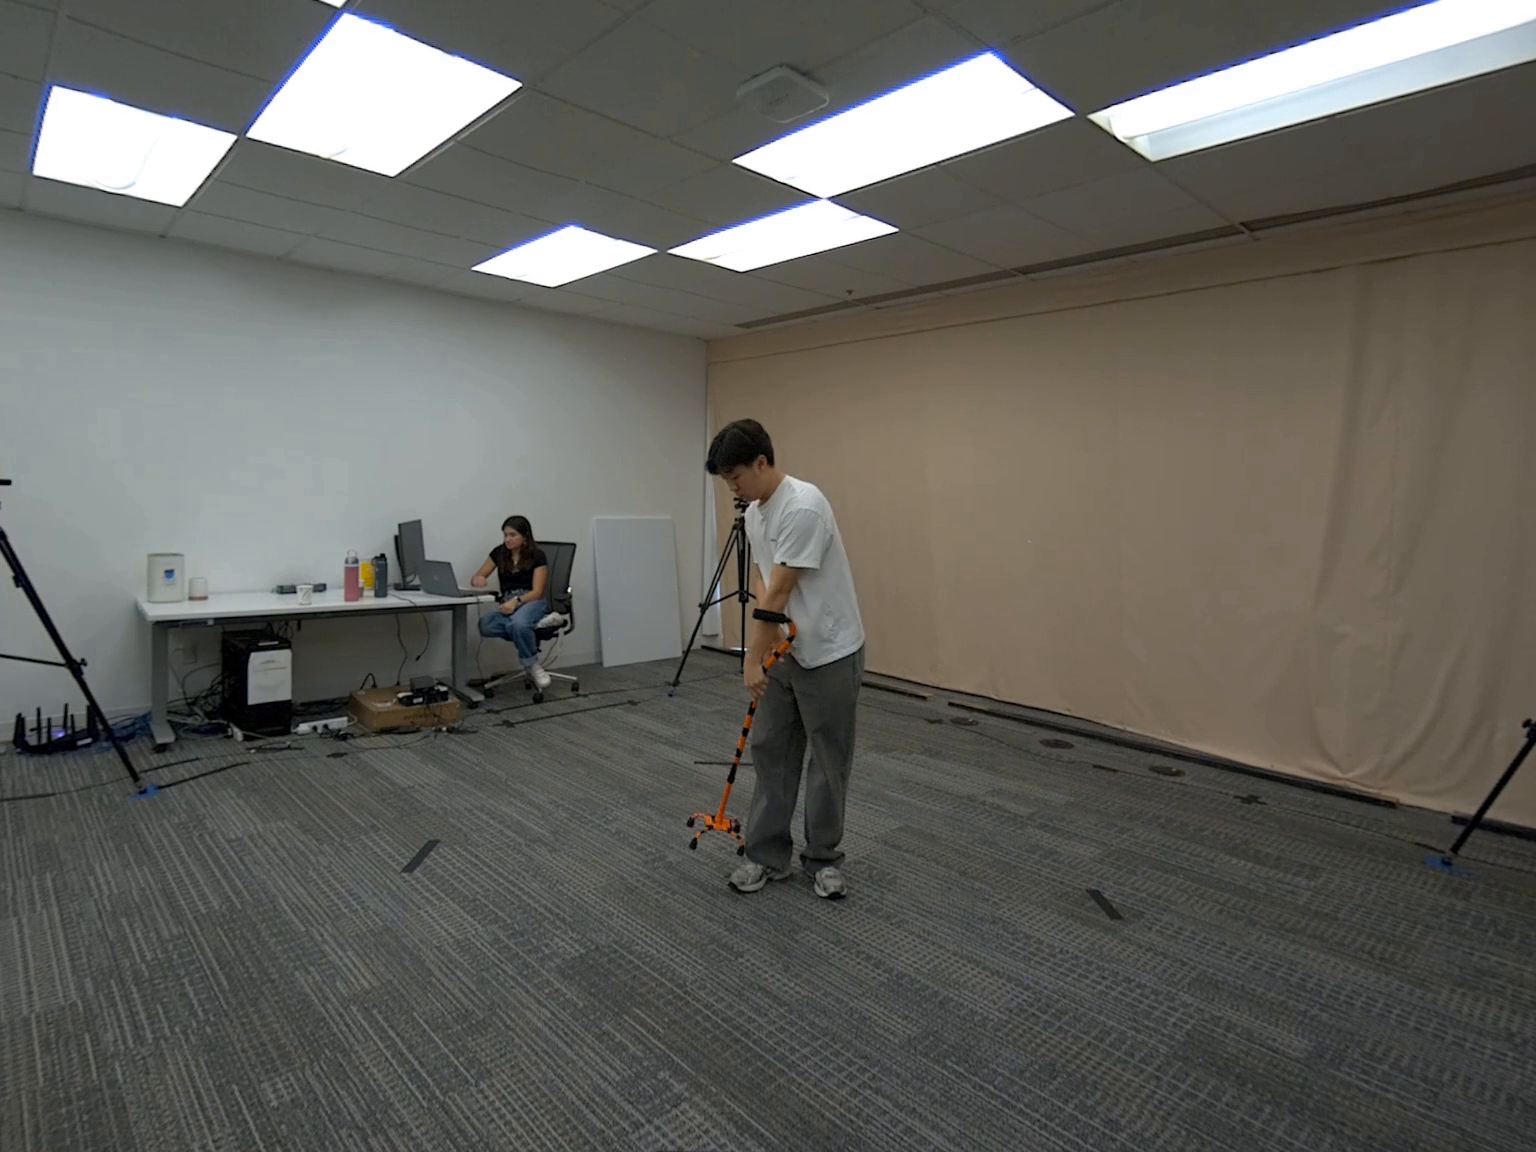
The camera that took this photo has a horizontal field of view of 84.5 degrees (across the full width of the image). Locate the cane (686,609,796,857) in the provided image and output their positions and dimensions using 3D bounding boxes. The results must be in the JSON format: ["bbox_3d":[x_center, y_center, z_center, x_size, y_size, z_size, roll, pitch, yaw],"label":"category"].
[{"bbox_3d":[-0.088,0.552,2.922,0.204,0.900,0.155,11,17,-13],"label":"cane"}]
